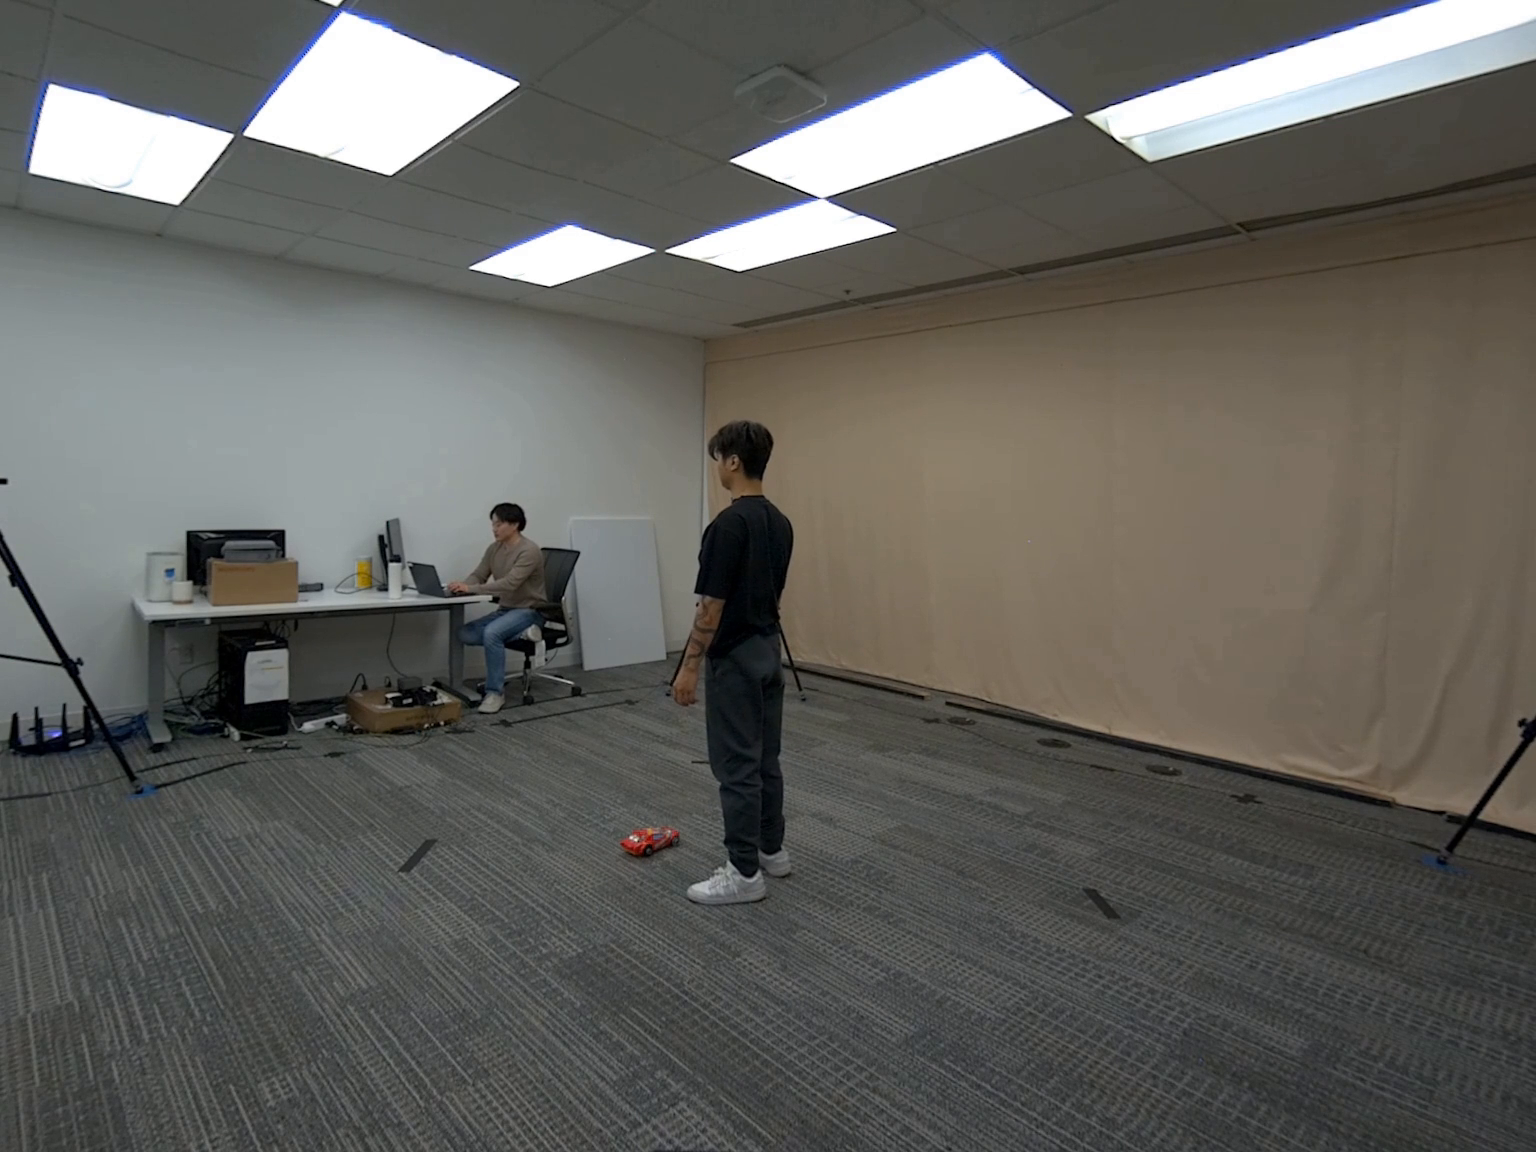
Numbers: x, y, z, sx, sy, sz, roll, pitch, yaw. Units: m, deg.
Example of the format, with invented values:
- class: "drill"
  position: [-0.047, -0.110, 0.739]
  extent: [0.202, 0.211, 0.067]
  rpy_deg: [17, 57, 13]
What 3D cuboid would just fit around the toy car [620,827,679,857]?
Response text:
- class: "toy car"
  position: [-0.475, 1.047, 3.324]
  extent: [0.133, 0.083, 0.247]
  rpy_deg: [6, -3, 43]
